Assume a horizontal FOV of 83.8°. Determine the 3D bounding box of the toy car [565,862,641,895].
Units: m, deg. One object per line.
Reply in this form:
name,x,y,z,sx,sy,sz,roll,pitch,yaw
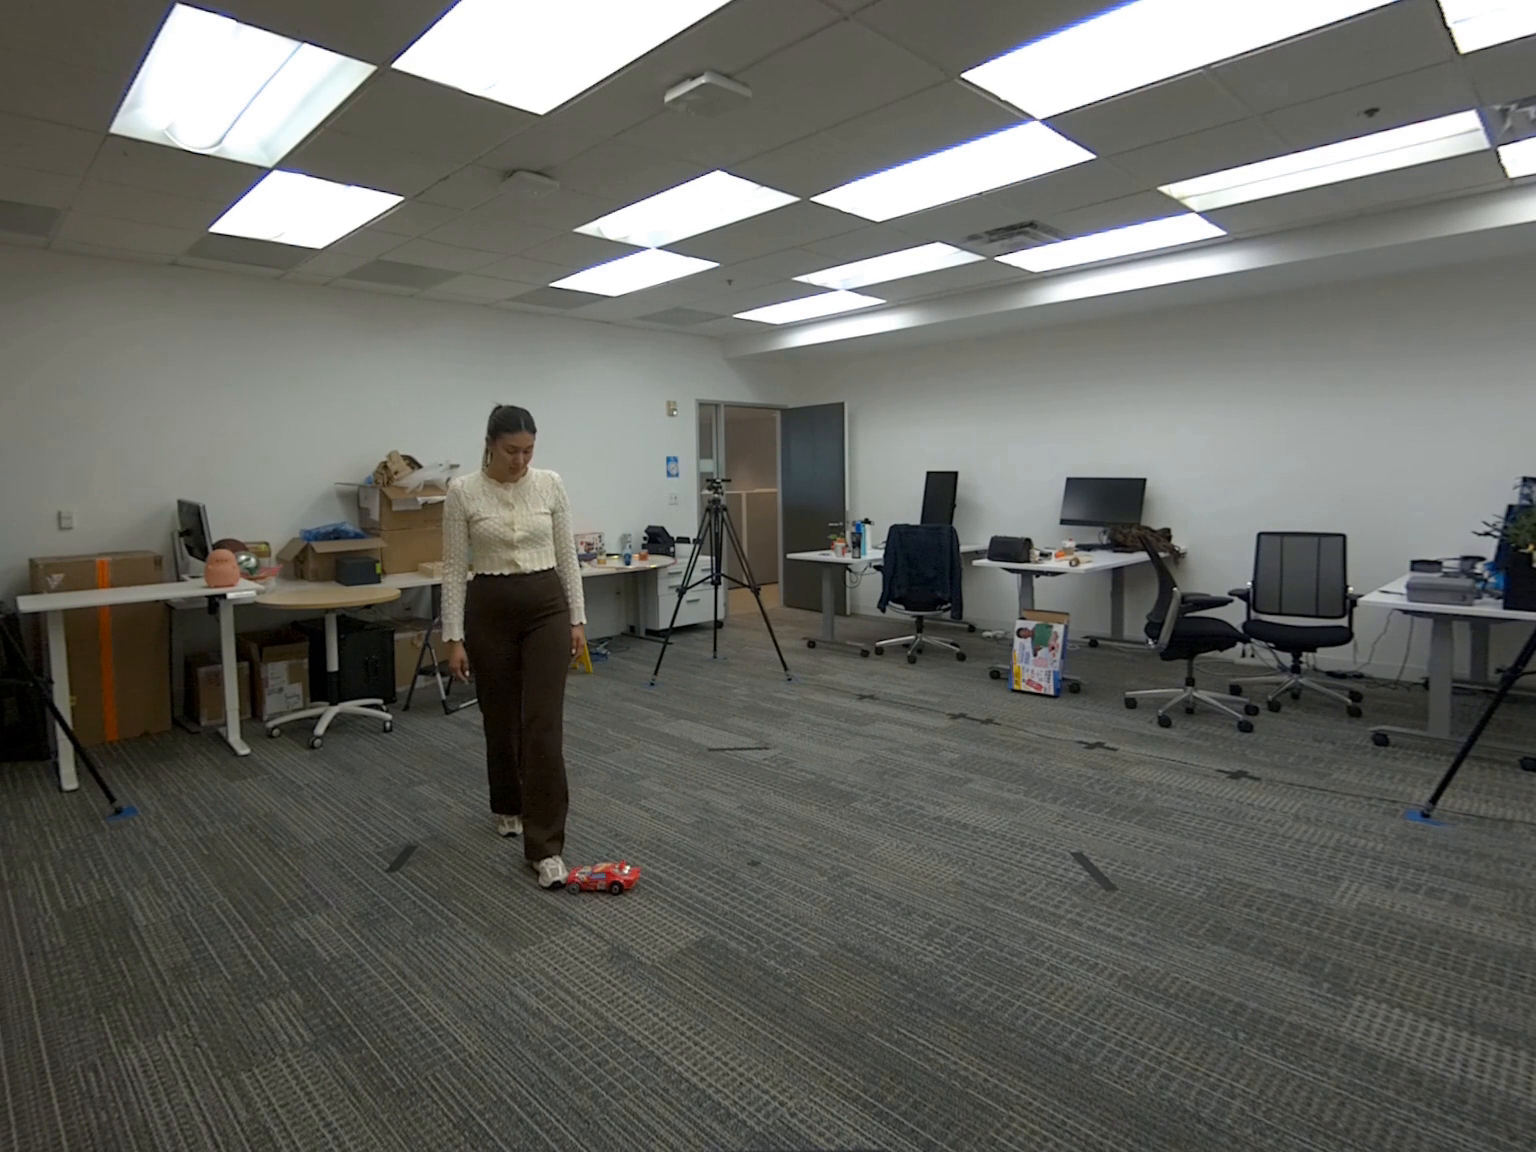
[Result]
toy car,-0.553,1.041,2.938,0.256,0.083,0.130,-13,3,6
